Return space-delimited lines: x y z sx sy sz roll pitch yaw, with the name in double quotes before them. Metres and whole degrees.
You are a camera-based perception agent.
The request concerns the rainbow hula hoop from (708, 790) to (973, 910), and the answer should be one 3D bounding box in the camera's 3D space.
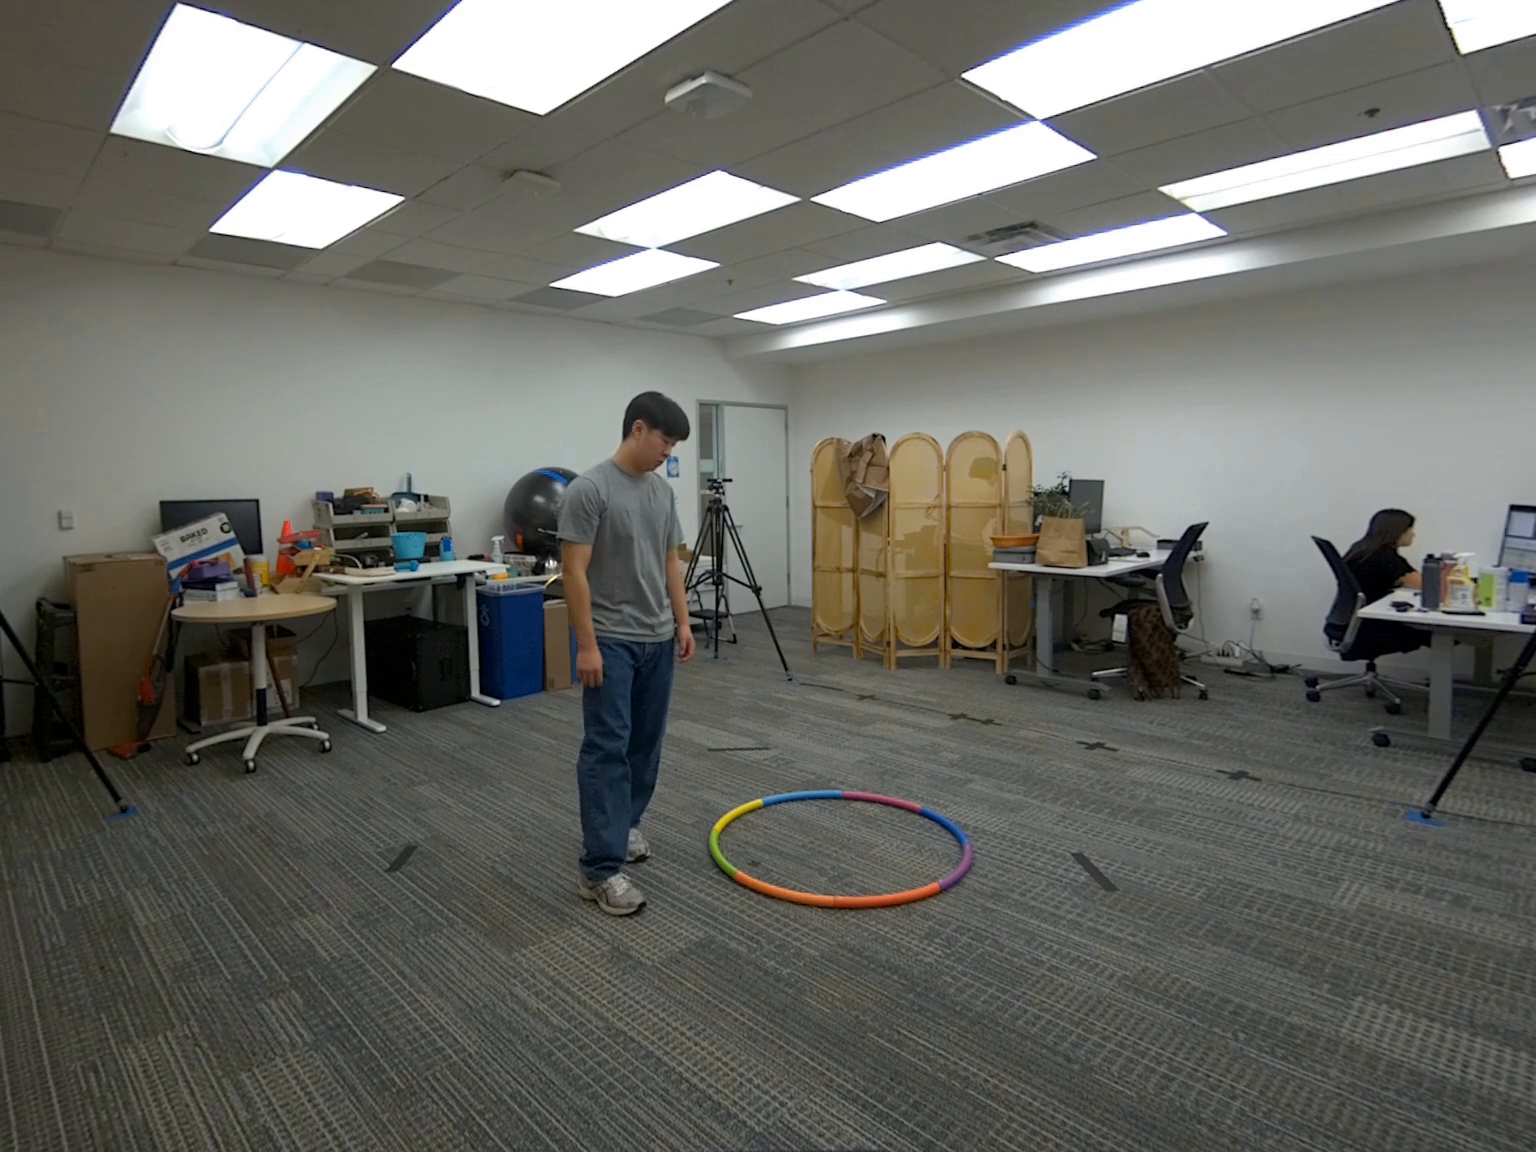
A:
"rainbow hula hoop" 0.260 0.994 3.248 0.978 0.035 0.984 -2 7 -2
